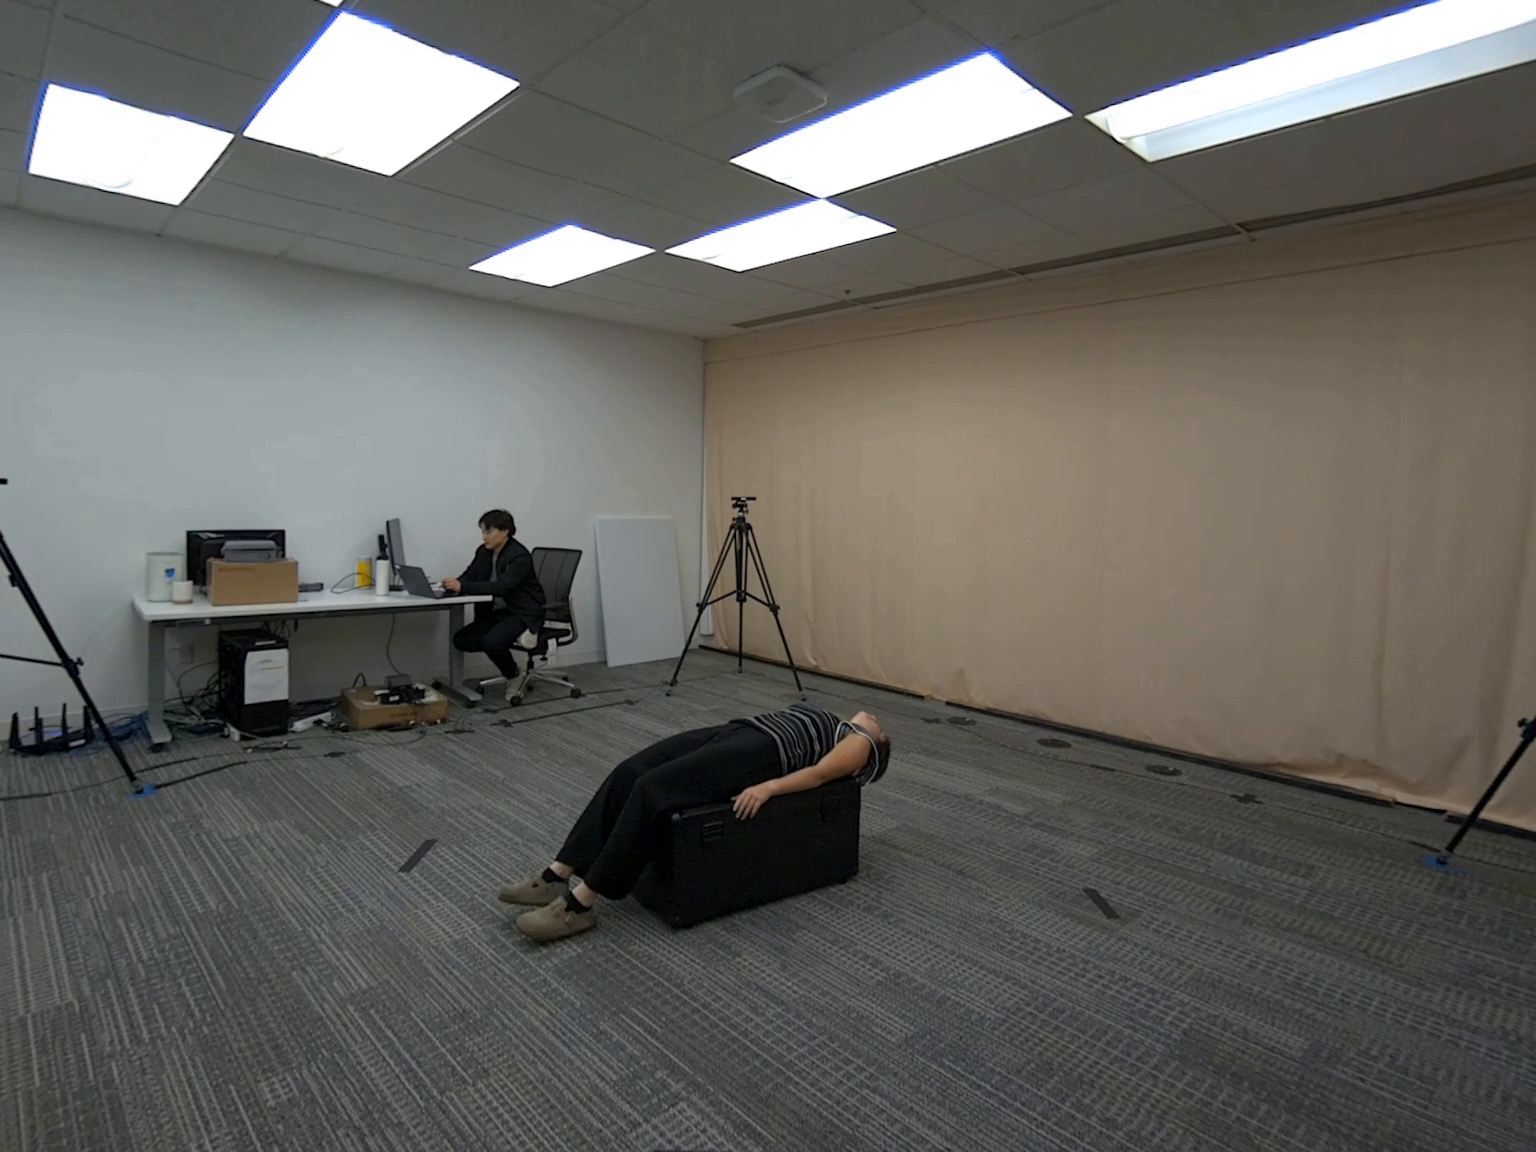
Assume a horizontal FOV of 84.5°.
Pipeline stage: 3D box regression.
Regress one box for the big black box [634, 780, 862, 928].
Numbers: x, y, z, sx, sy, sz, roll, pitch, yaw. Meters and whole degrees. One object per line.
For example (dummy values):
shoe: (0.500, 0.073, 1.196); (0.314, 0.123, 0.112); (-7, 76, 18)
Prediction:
big black box: (-0.094, 0.925, 3.090); (0.843, 0.395, 0.533); (-3, 4, -34)
